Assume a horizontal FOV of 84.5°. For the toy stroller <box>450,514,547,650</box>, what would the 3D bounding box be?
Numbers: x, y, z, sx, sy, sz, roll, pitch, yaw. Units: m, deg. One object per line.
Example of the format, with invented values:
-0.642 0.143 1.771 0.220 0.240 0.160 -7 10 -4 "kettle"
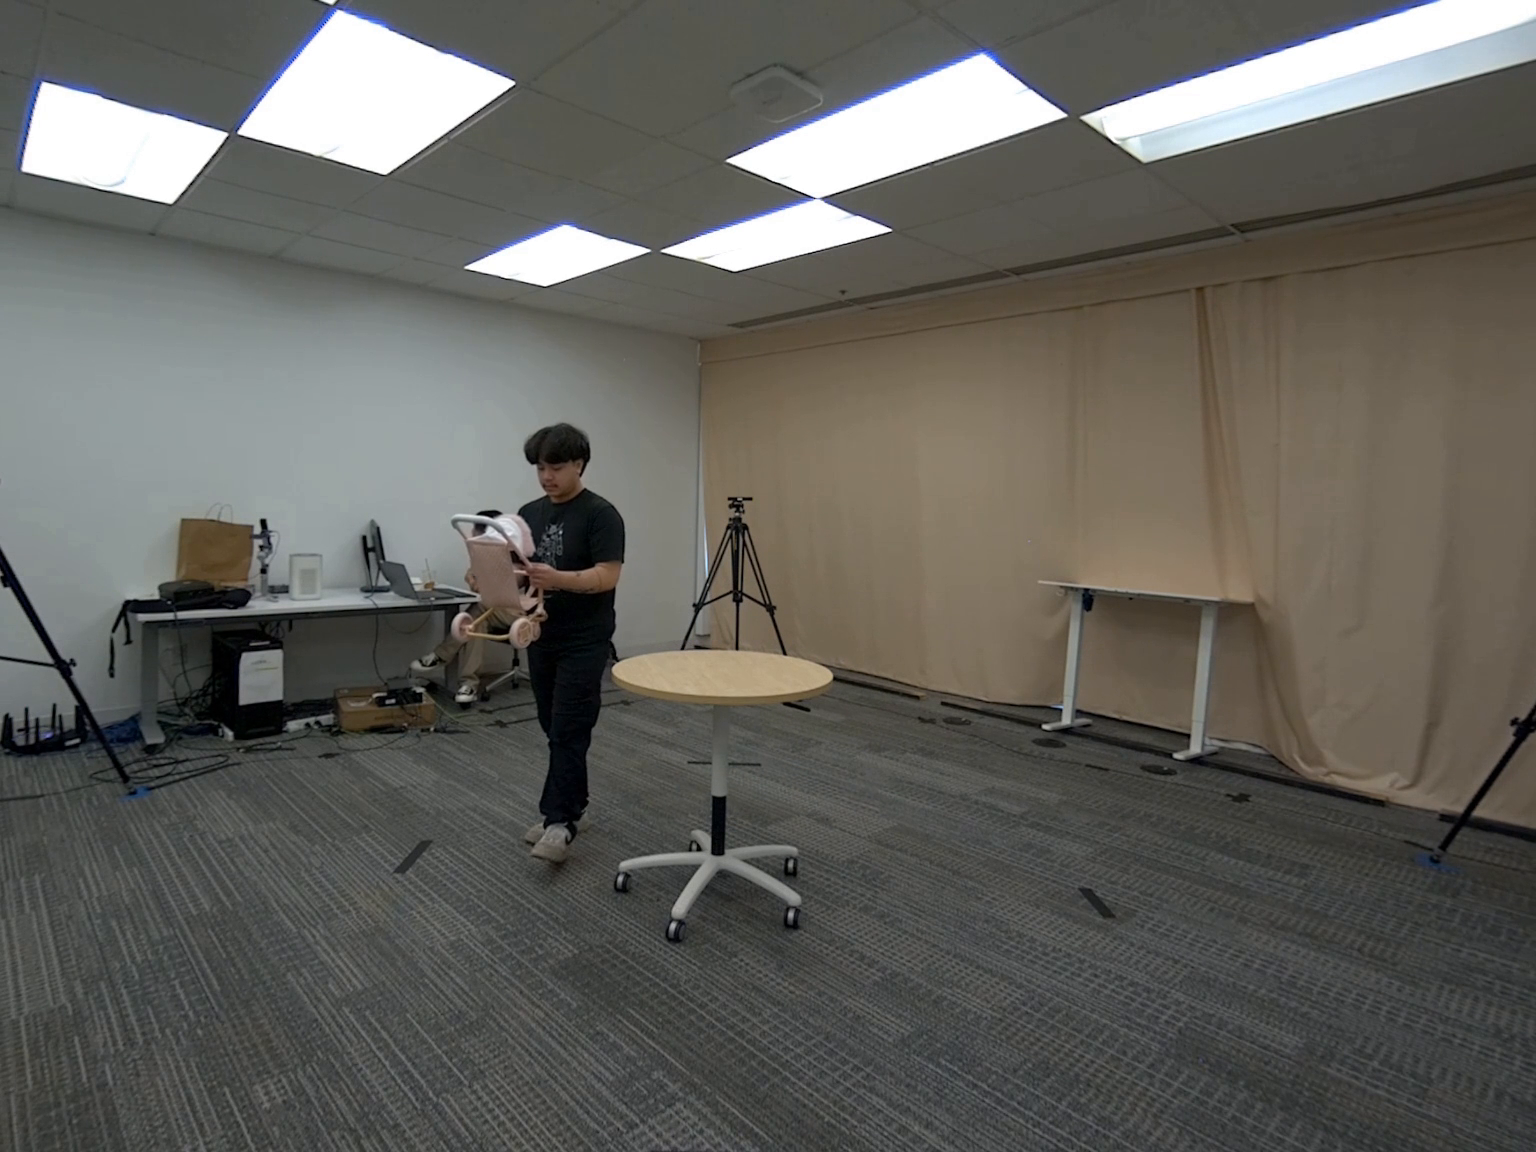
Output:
-0.952 0.023 3.022 0.287 0.530 0.338 4 13 24 "toy stroller"
